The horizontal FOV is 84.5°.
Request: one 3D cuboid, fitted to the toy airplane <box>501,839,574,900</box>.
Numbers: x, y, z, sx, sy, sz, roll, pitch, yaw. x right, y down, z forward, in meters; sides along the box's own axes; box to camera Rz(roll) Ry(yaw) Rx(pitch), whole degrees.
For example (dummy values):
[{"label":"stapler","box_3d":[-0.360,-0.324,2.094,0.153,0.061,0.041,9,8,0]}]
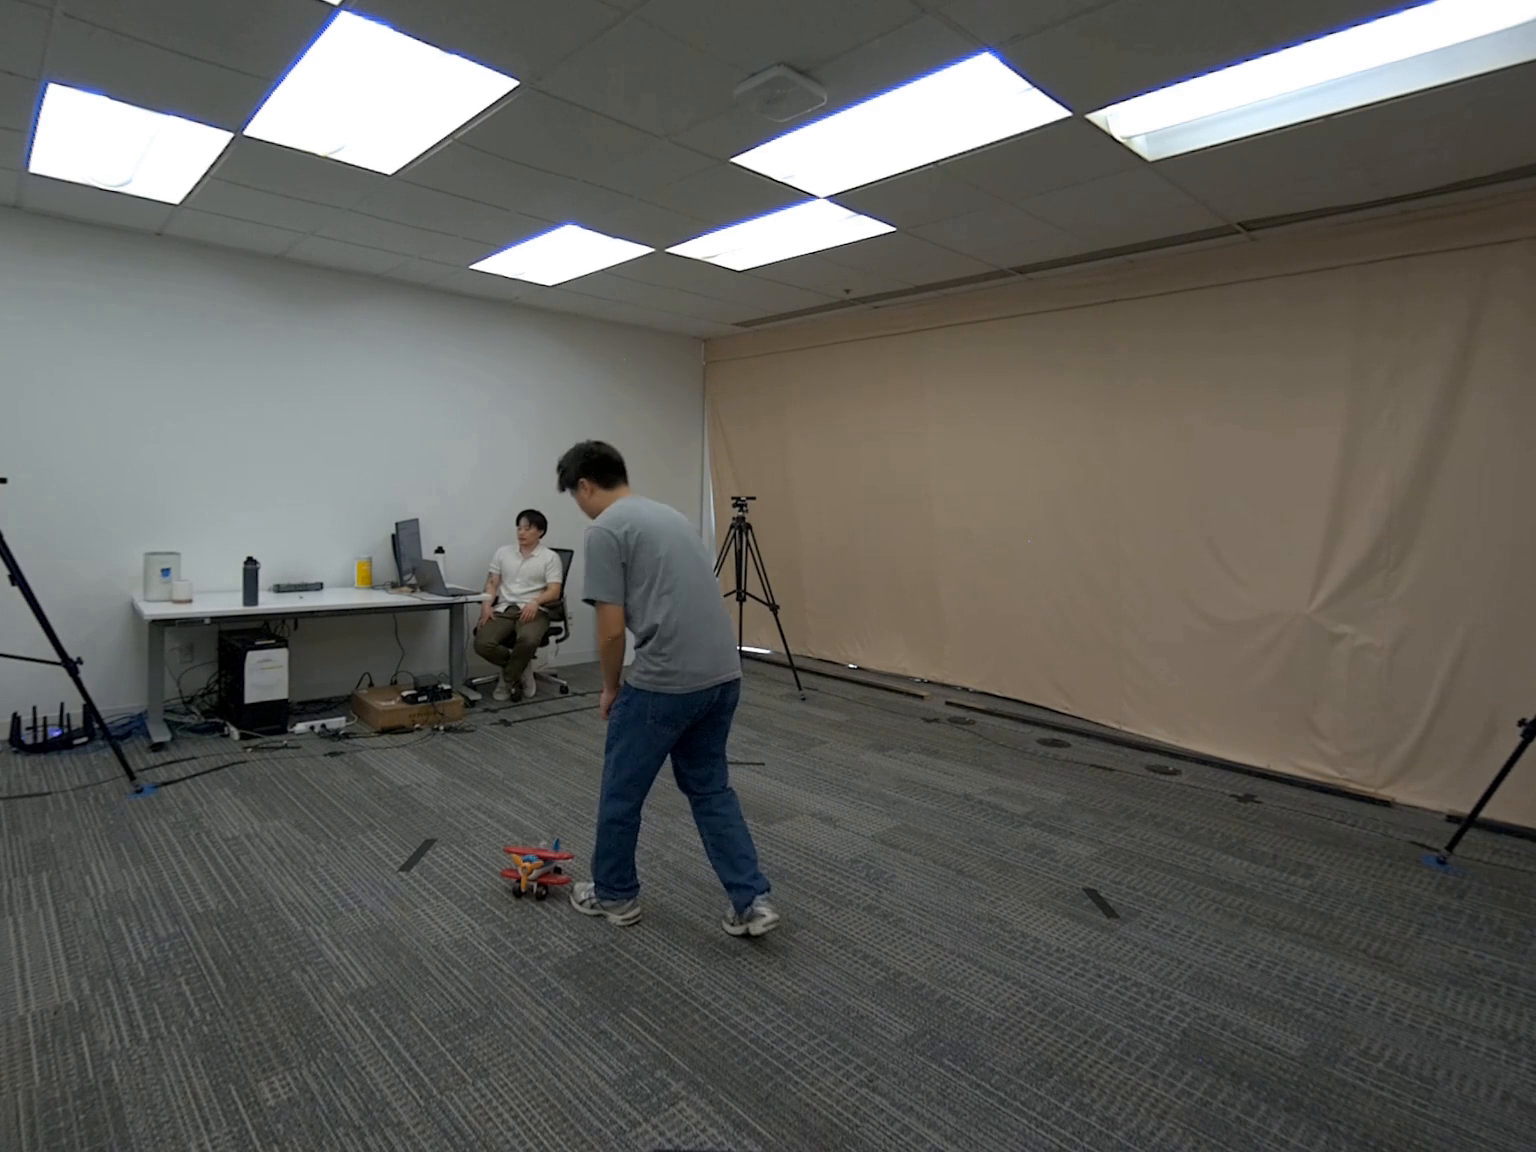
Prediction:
[{"label":"toy airplane","box_3d":[-0.825,1.028,2.973,0.248,0.156,0.263,0,6,-16]}]
